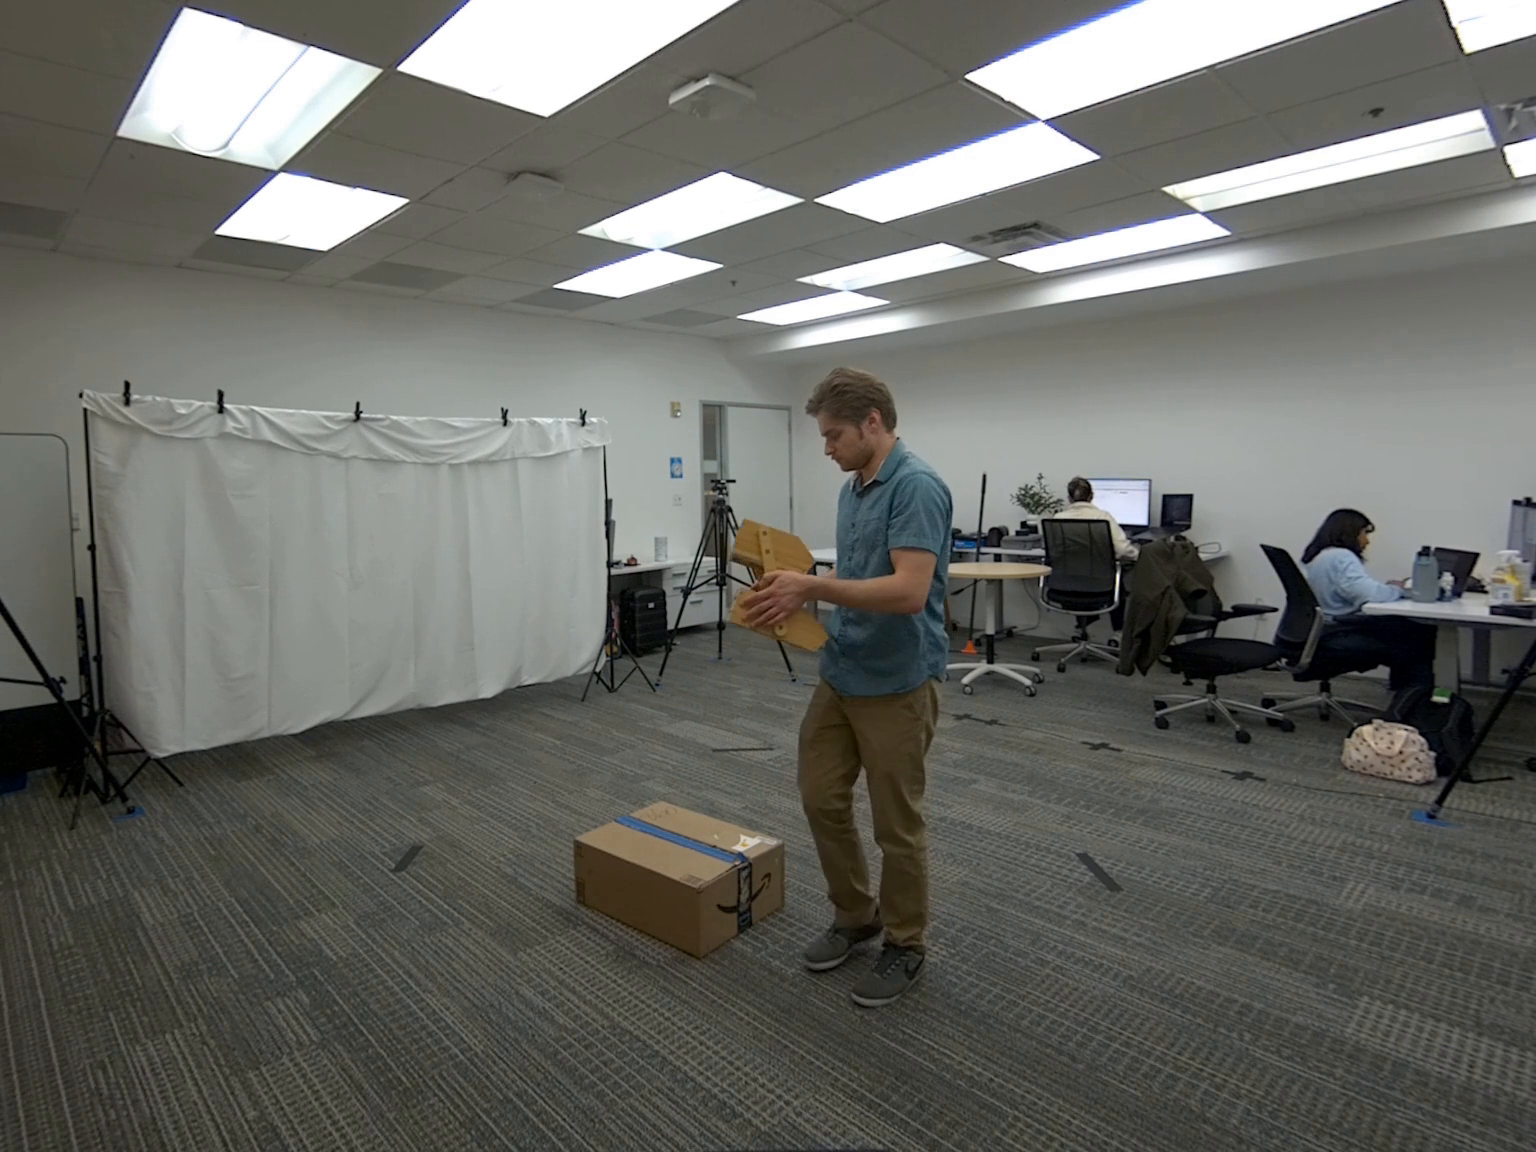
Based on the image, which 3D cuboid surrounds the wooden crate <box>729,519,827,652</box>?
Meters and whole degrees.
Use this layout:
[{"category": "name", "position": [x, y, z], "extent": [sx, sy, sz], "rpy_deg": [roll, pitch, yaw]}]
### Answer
[{"category": "wooden crate", "position": [0.045, 0.028, 2.288], "extent": [0.303, 0.274, 0.323], "rpy_deg": [19, -5, 0]}]
